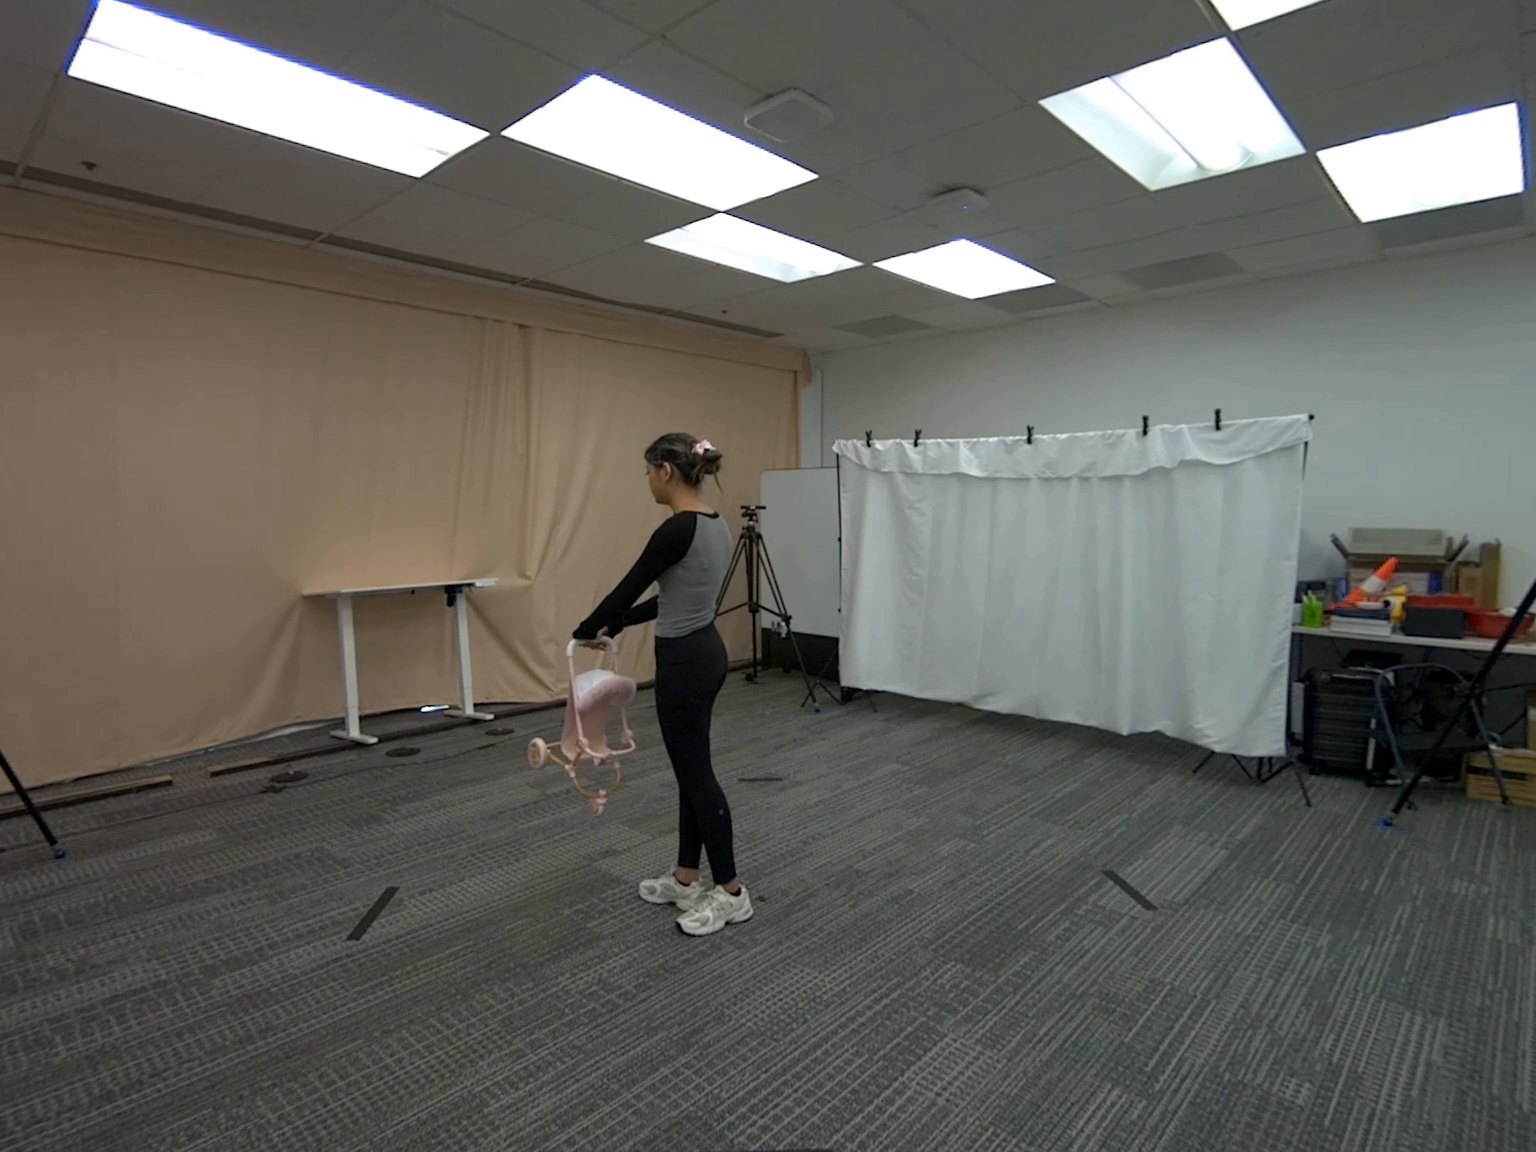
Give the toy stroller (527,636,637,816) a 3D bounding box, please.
[{"bbox_3d":[-0.605,0.533,2.910,0.272,0.533,0.354,5,21,-42],"label":"toy stroller"}]
